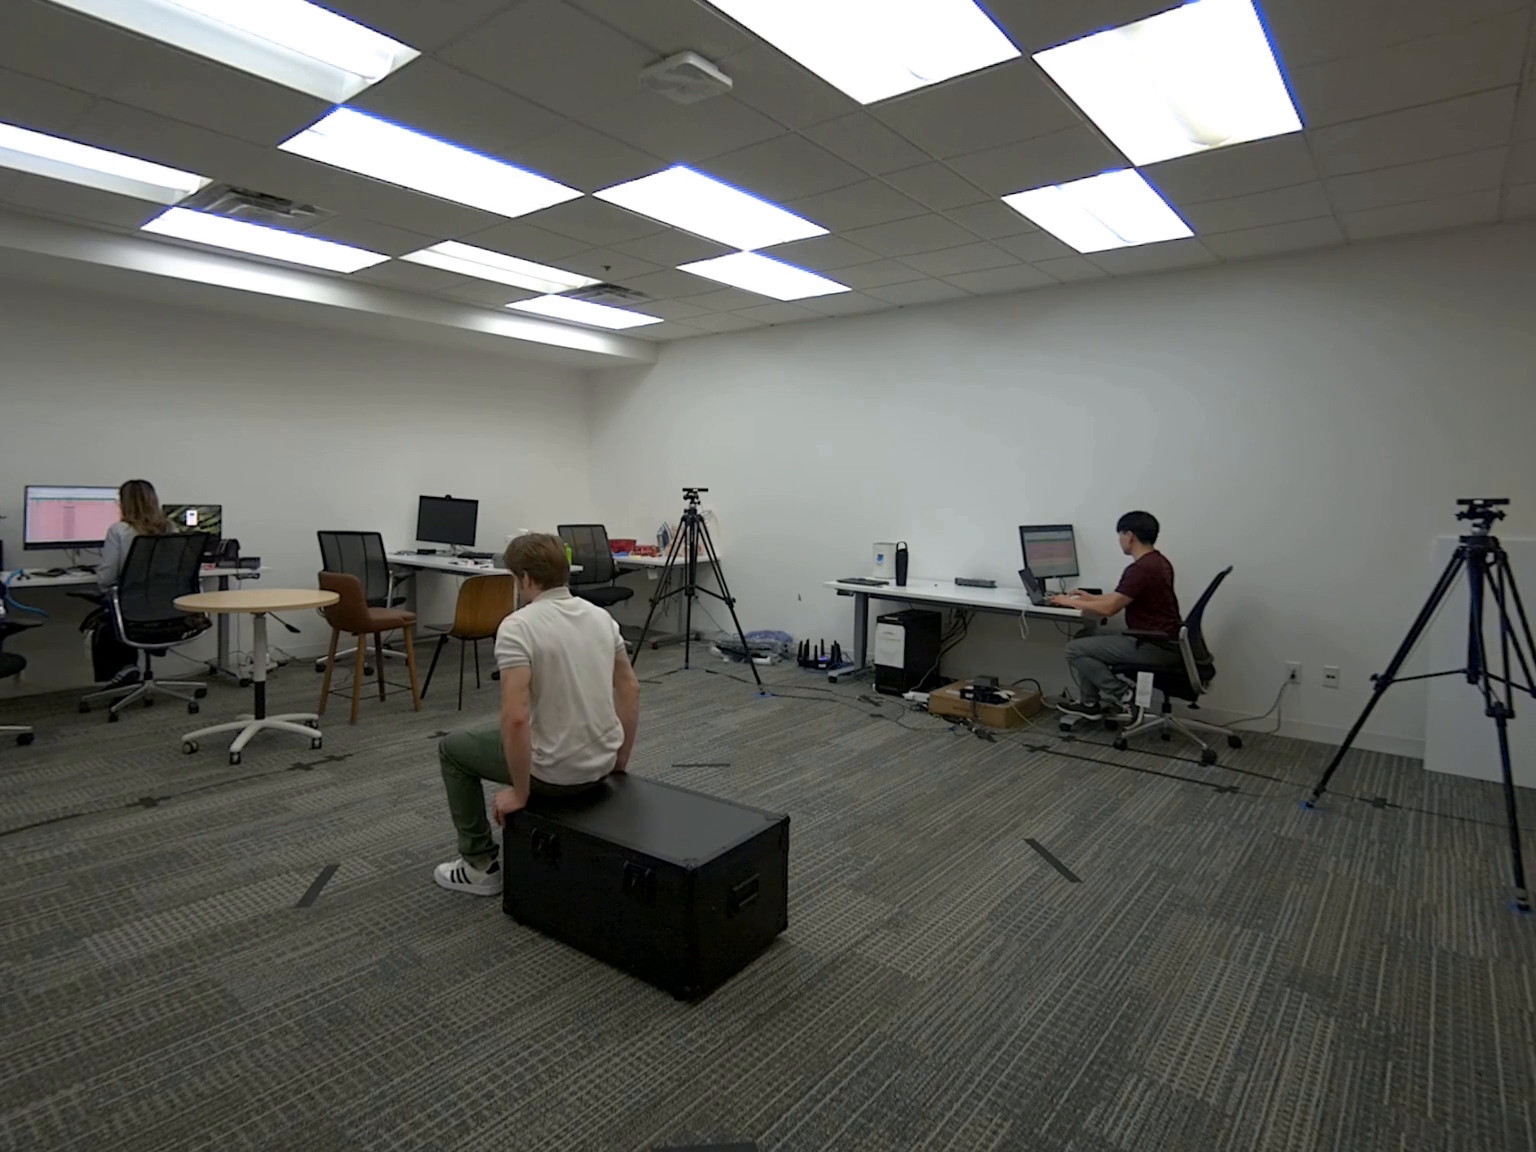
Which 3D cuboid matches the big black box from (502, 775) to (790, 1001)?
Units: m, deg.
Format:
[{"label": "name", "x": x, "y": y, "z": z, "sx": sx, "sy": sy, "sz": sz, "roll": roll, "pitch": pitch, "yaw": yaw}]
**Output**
[{"label": "big black box", "x": -0.427, "y": 0.911, "z": 2.703, "sx": 0.896, "sy": 0.384, "sz": 0.509, "roll": 4, "pitch": 6, "yaw": 35}]
